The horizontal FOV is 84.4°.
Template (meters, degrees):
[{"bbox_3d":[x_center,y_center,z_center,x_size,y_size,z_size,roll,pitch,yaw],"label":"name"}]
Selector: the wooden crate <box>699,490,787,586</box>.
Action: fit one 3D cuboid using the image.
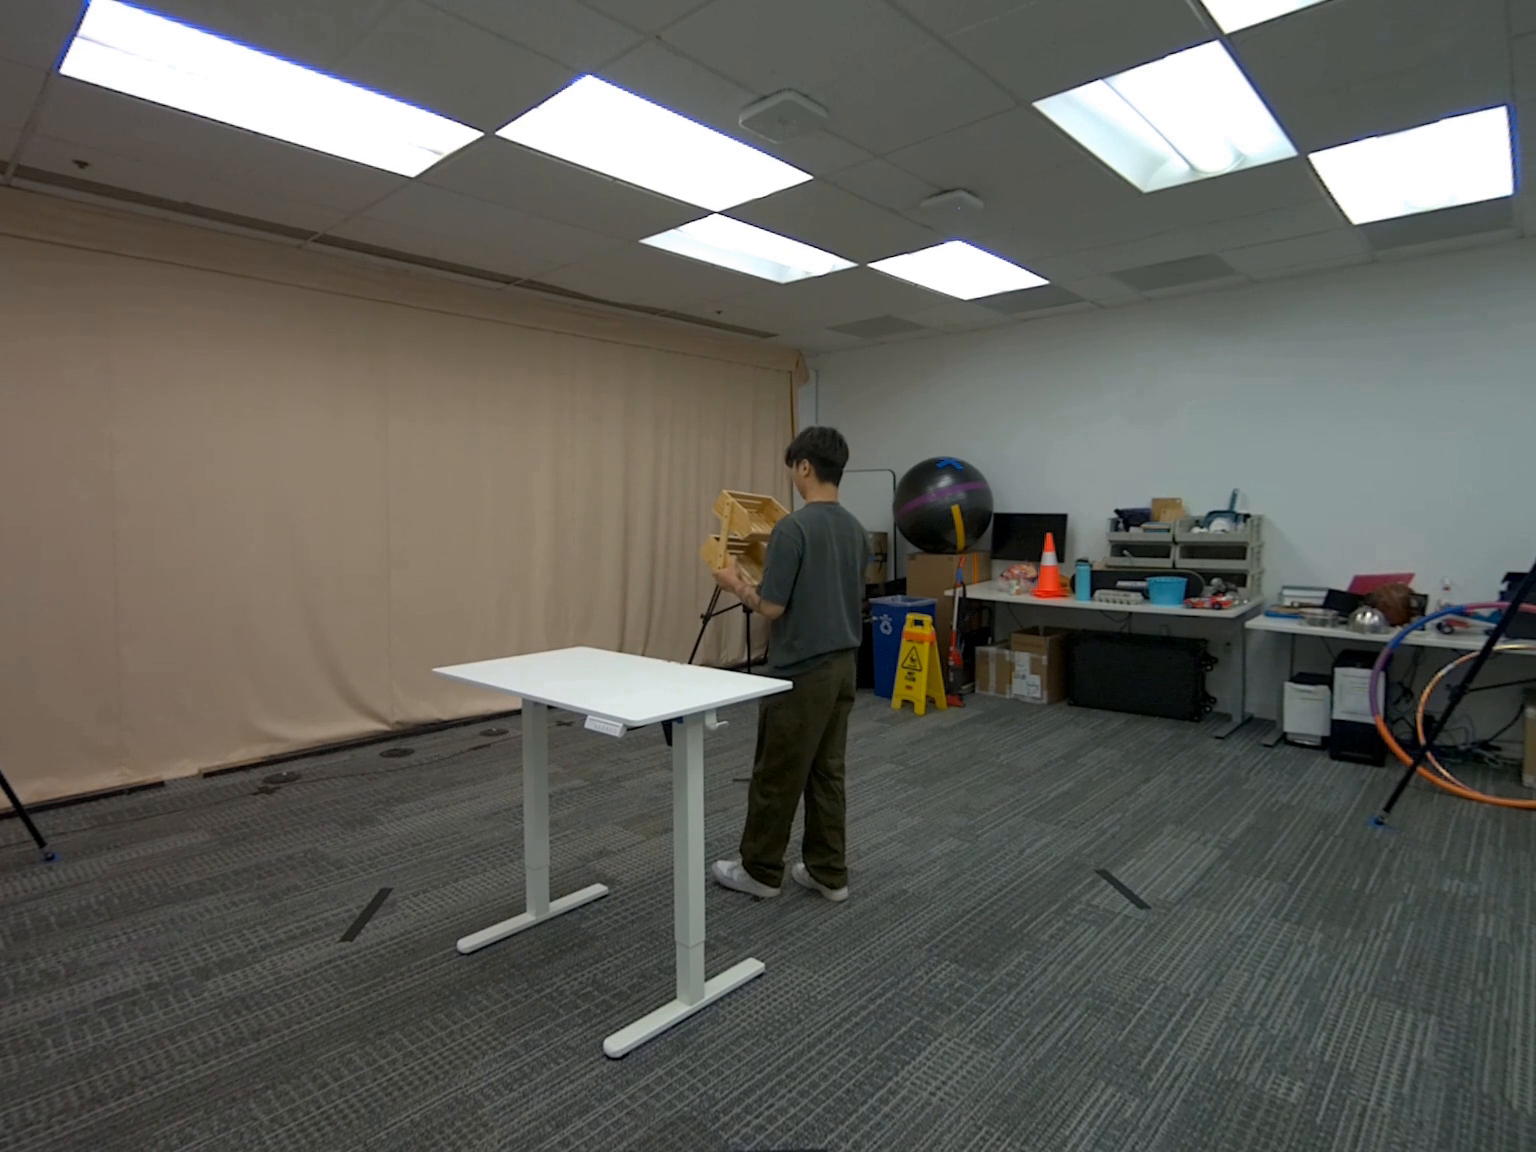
[{"bbox_3d":[-0.045,-0.126,3.194,0.314,0.273,0.312,2,35,-51],"label":"wooden crate"}]
